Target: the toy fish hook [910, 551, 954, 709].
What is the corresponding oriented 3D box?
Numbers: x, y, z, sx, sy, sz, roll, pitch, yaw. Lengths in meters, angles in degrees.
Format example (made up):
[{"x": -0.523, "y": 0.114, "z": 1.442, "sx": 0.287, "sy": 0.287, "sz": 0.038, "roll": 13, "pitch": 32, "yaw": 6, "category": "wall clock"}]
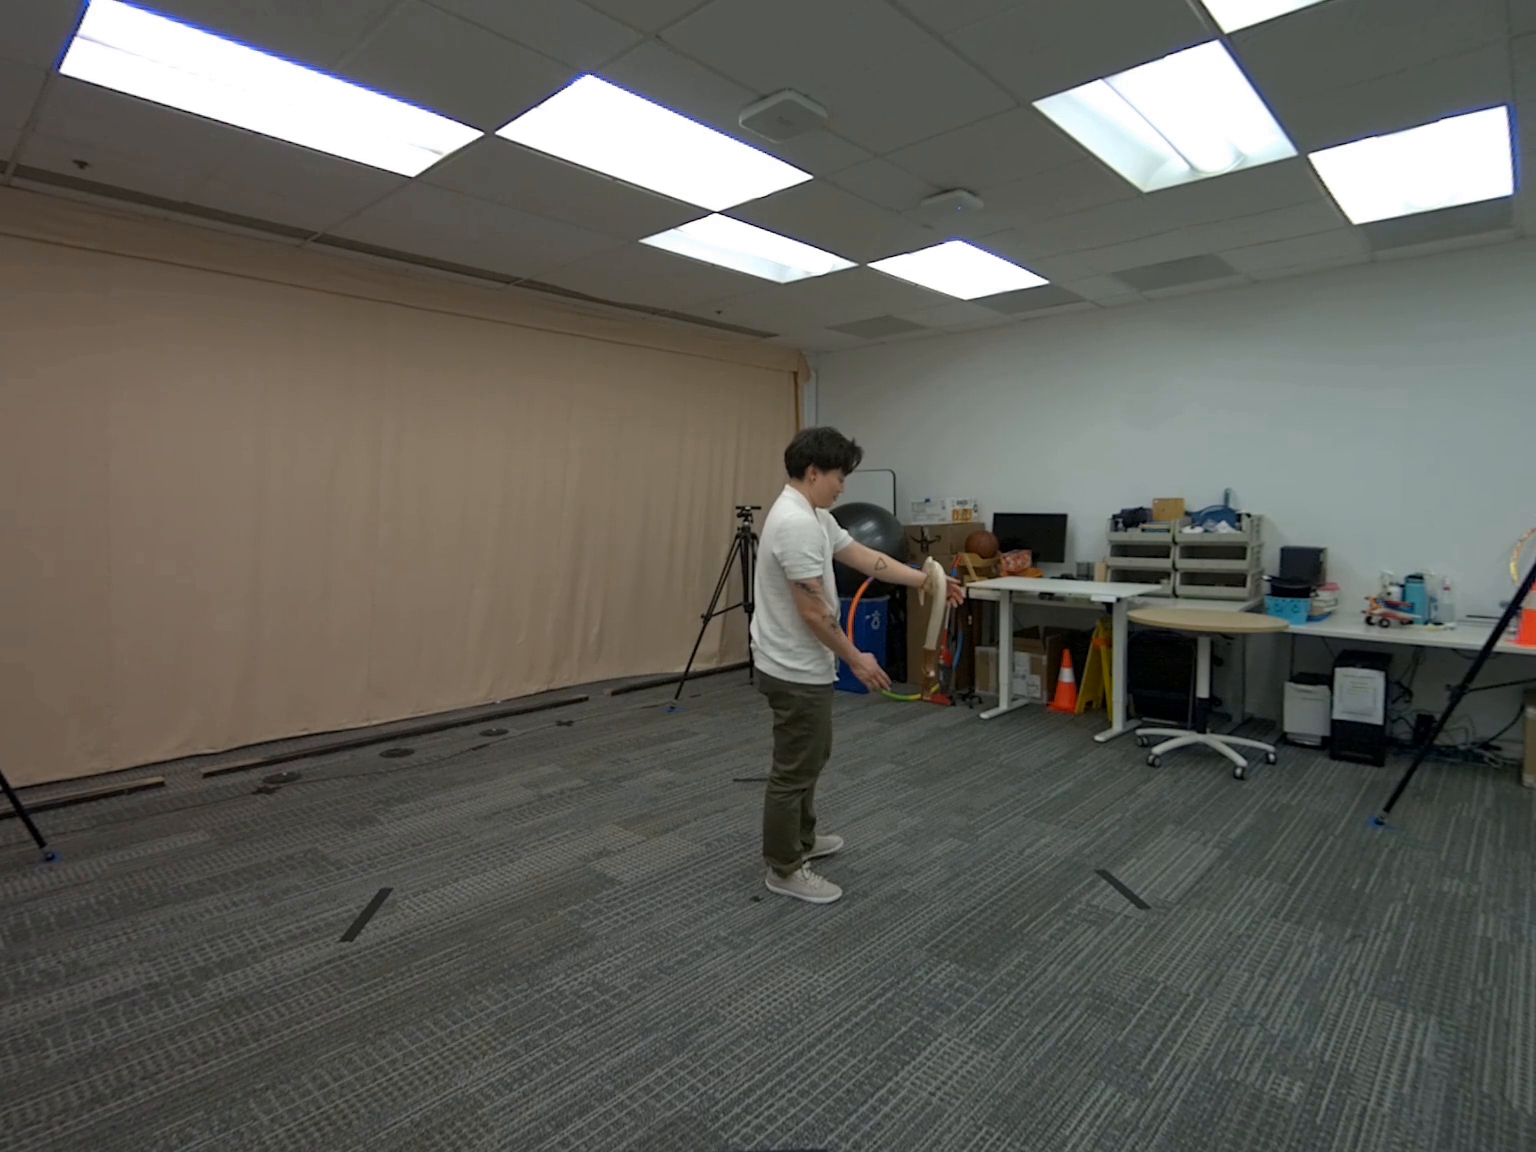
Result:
[{"x": 0.579, "y": 0.186, "z": 3.016, "sx": 0.048, "sy": 0.502, "sz": 0.227, "roll": 3, "pitch": 15, "yaw": -3, "category": "toy fish hook"}]
